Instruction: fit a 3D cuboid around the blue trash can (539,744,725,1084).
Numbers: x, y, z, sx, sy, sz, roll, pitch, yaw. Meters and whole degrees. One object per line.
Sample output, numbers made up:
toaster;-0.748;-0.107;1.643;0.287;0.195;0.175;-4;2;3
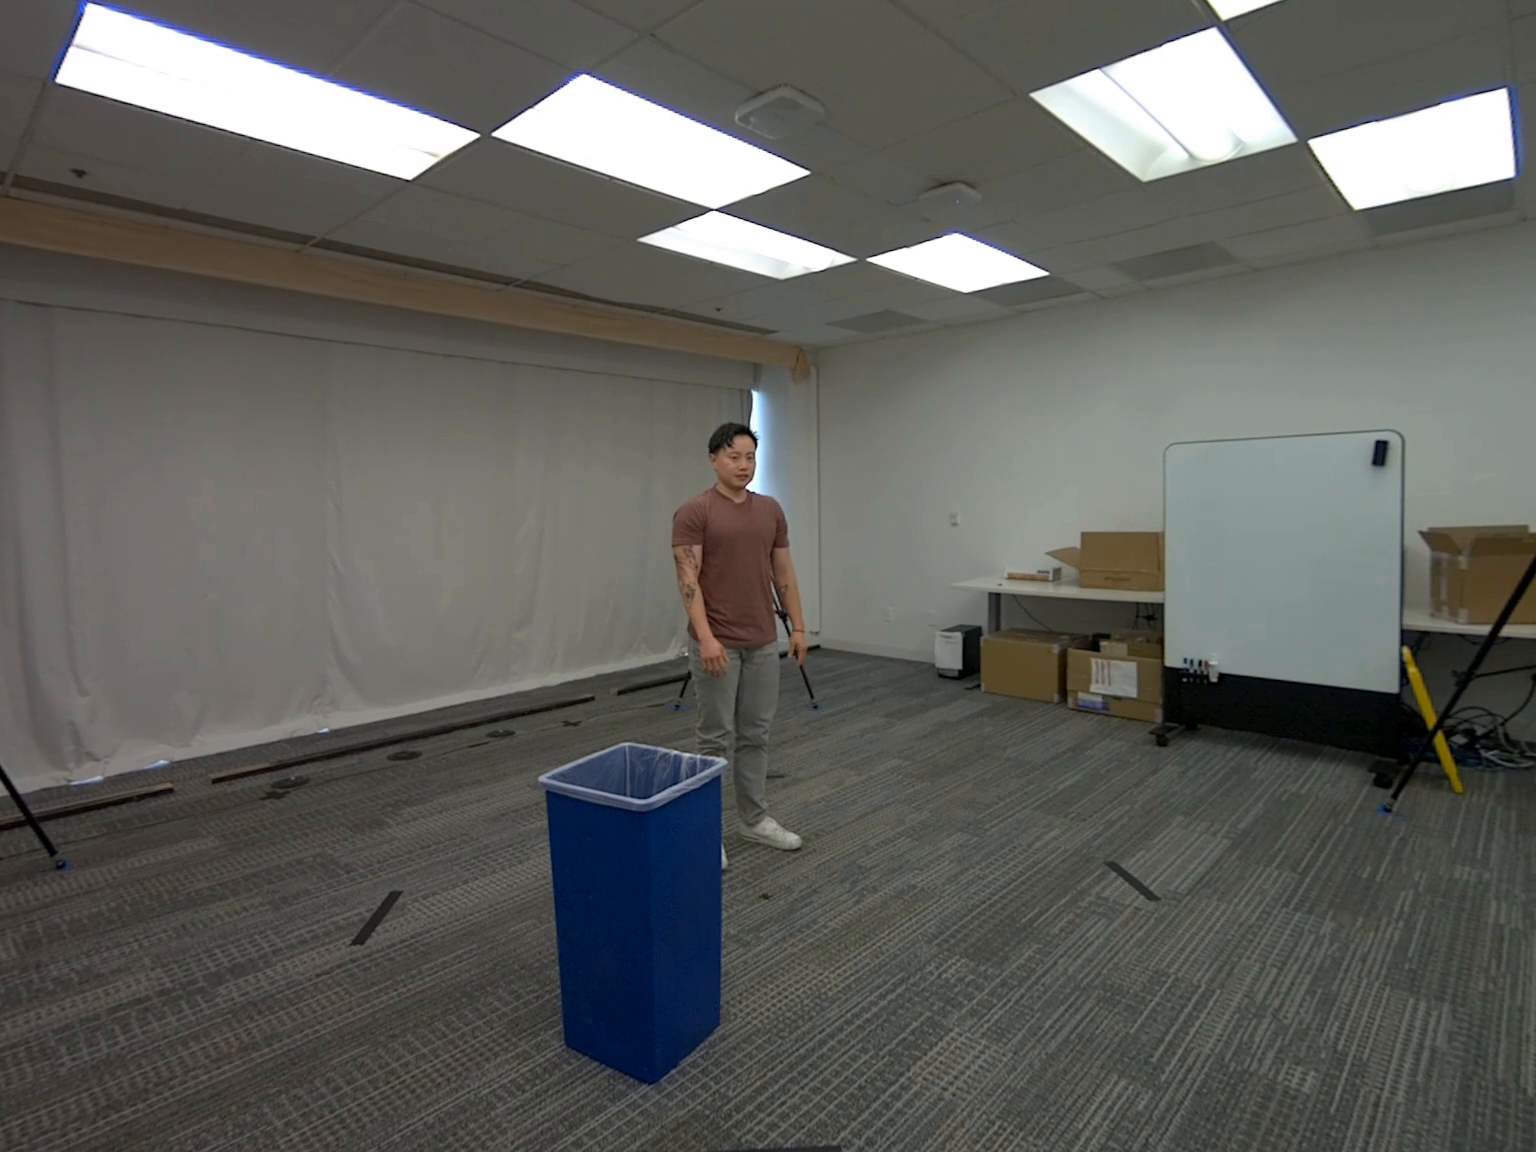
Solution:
blue trash can;-0.336;0.857;2.190;0.389;0.712;0.364;1;4;32
